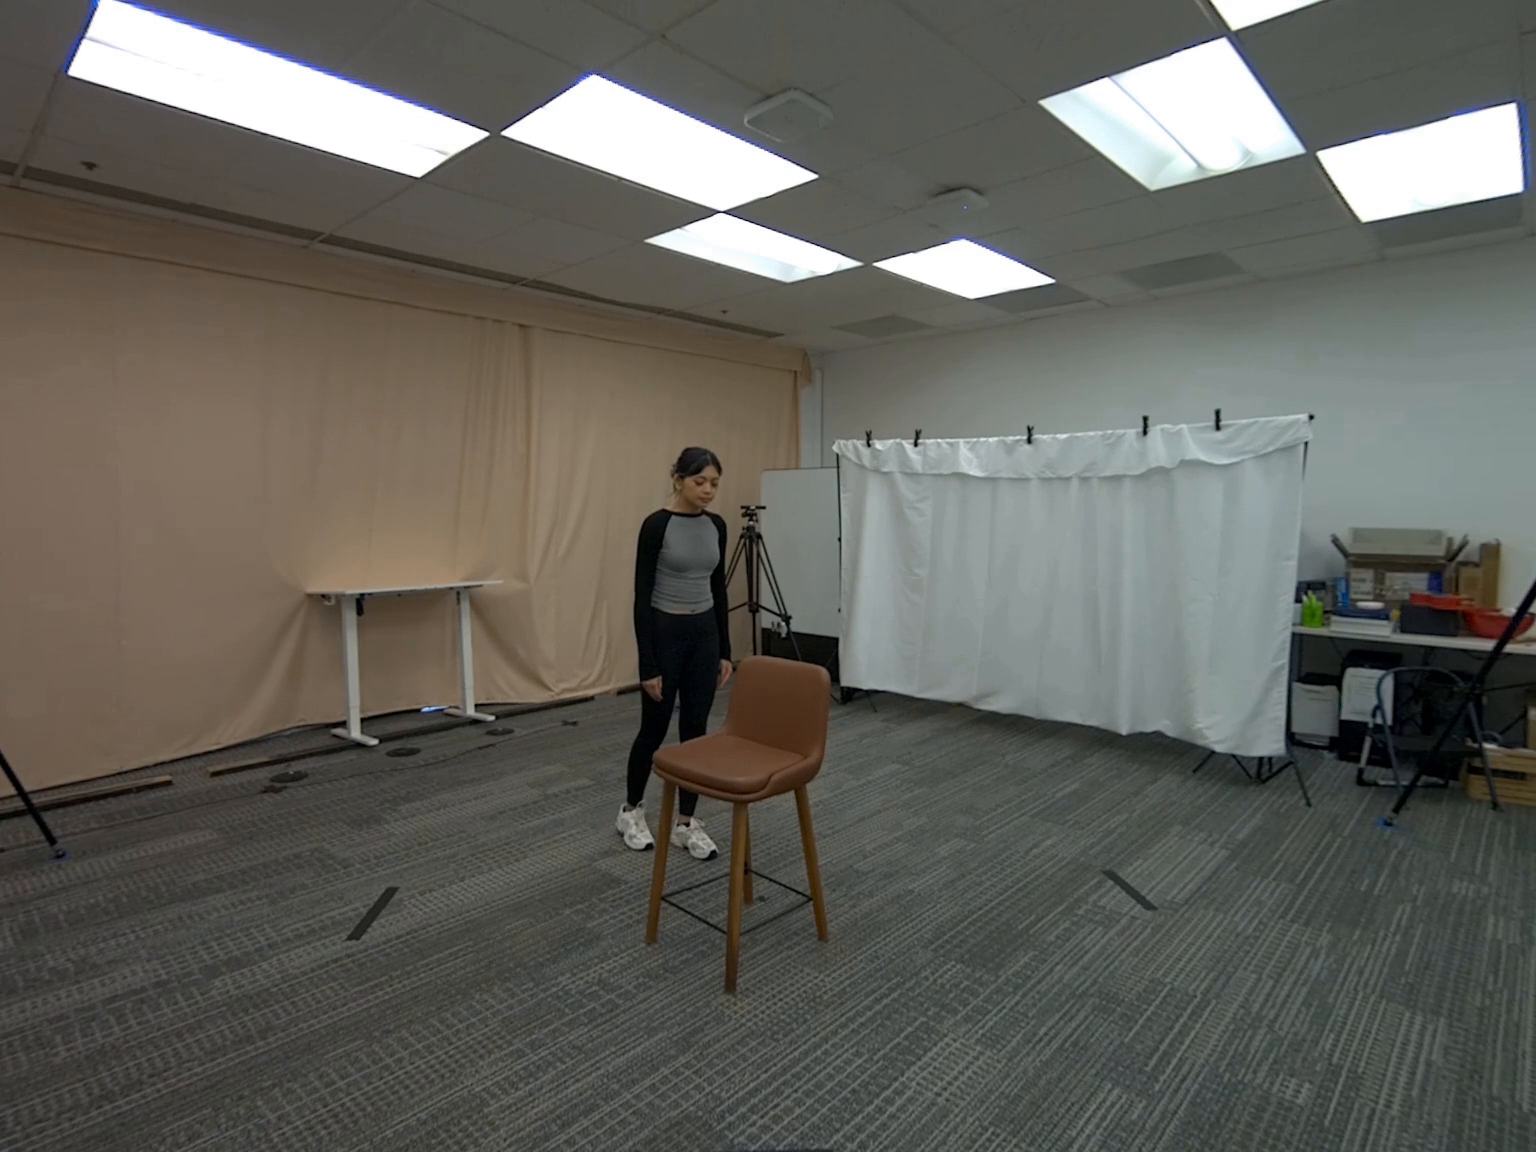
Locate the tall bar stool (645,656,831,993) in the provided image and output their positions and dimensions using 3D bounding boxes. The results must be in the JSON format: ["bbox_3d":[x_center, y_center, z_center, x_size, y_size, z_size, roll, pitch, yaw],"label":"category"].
[{"bbox_3d":[-0.080,0.736,2.668,0.453,0.888,0.472,-1,3,-45],"label":"tall bar stool"}]
